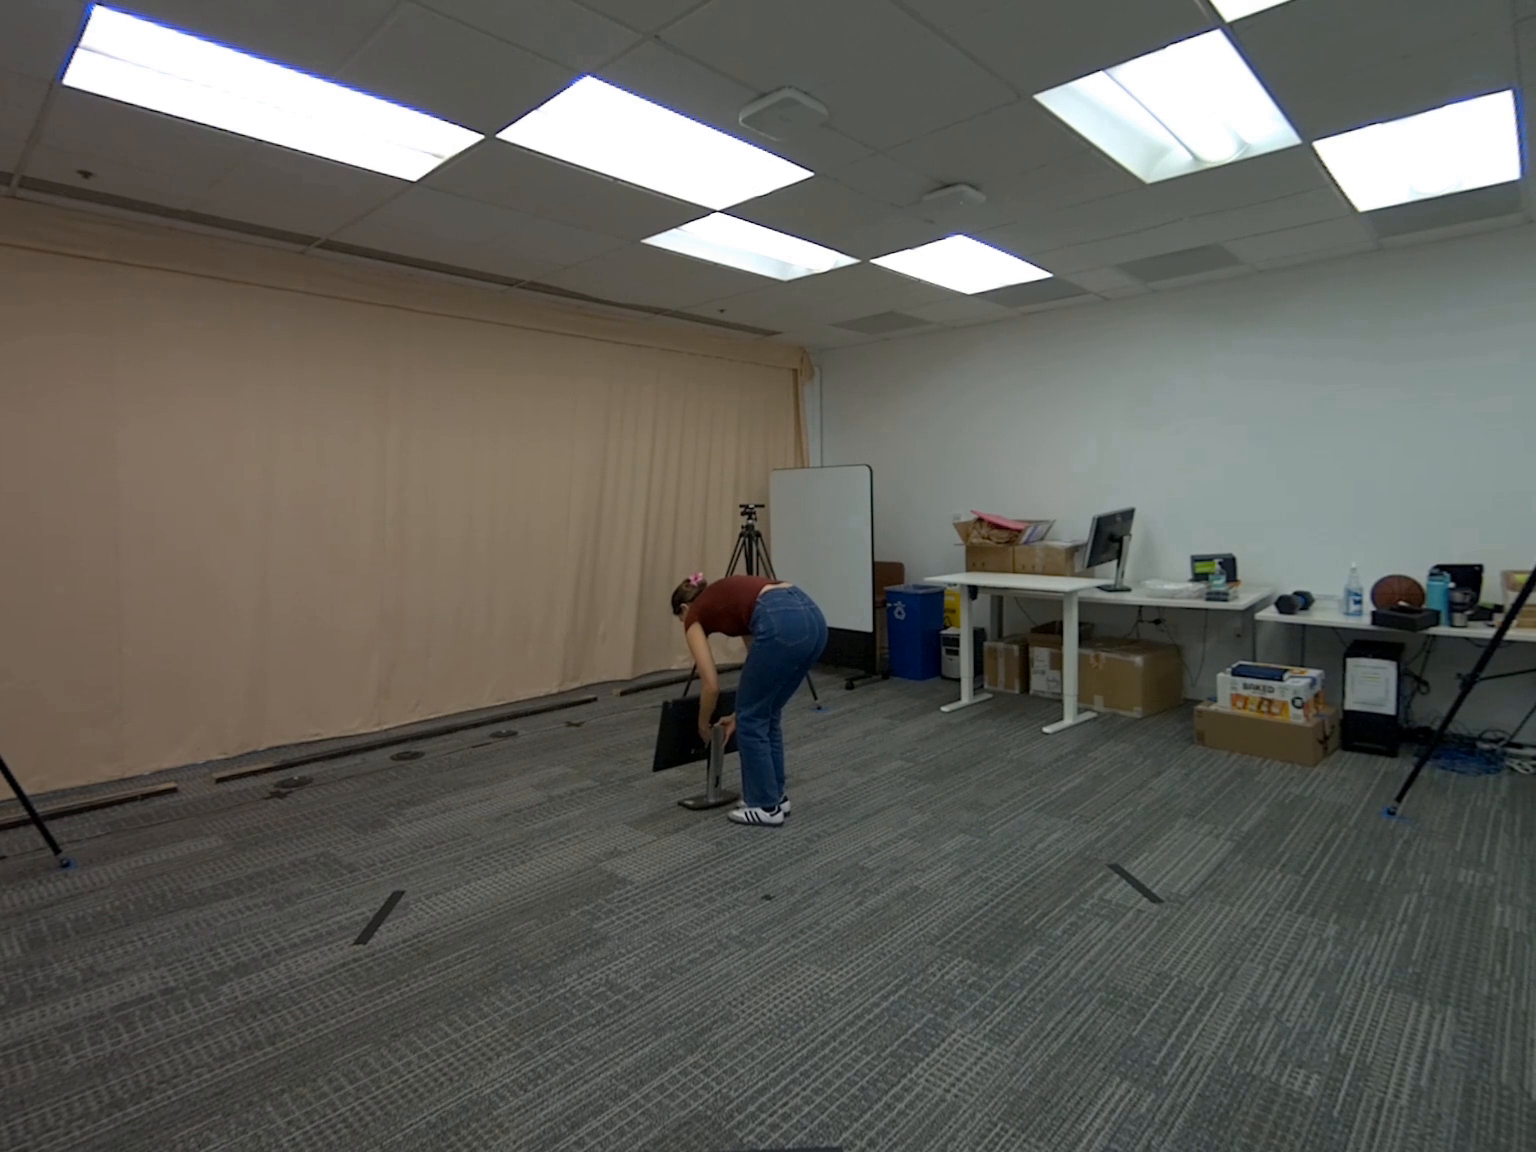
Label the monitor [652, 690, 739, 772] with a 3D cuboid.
[{"bbox_3d":[-0.286,0.808,3.963,0.523,0.522,0.193,-5,3,-43],"label":"monitor"}]
